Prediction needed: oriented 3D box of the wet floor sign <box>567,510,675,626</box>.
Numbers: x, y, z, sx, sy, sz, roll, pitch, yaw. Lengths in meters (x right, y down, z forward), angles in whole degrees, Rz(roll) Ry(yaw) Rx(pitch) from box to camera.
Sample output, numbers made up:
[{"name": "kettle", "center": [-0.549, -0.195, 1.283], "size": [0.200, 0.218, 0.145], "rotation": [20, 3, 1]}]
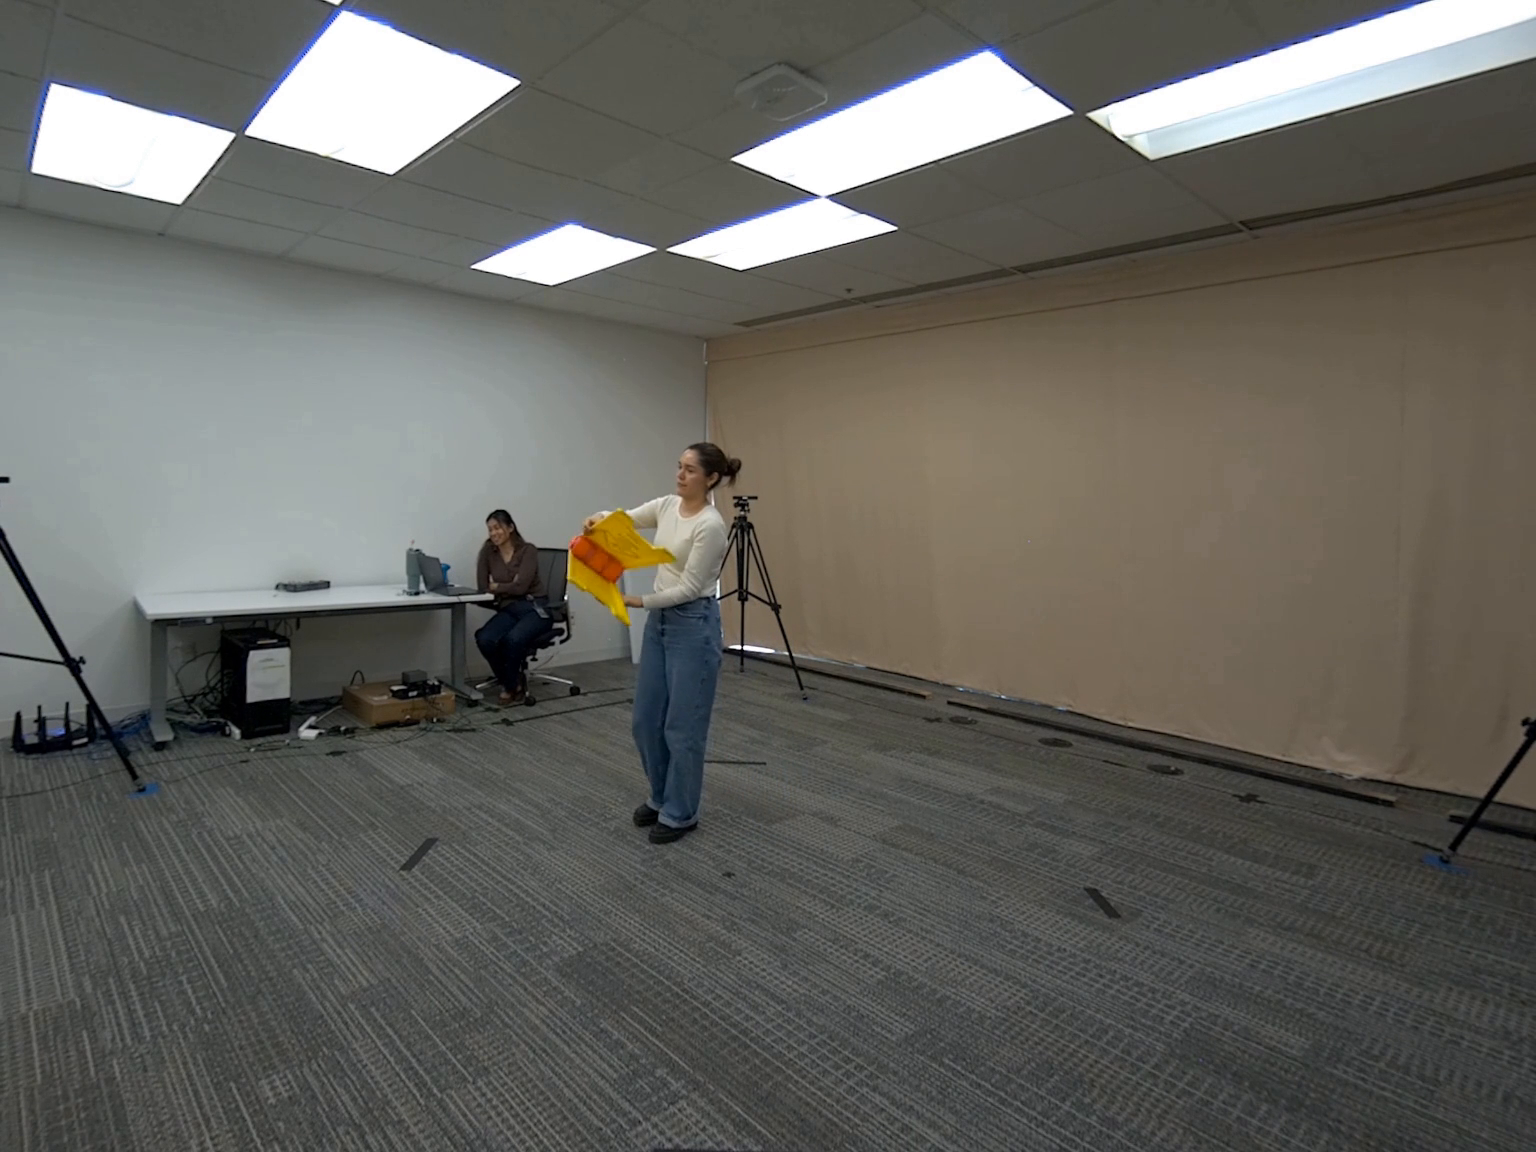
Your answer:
[{"name": "wet floor sign", "center": [-0.637, -0.051, 3.235], "size": [0.277, 0.290, 0.657], "rotation": [39, -10, -19]}]
